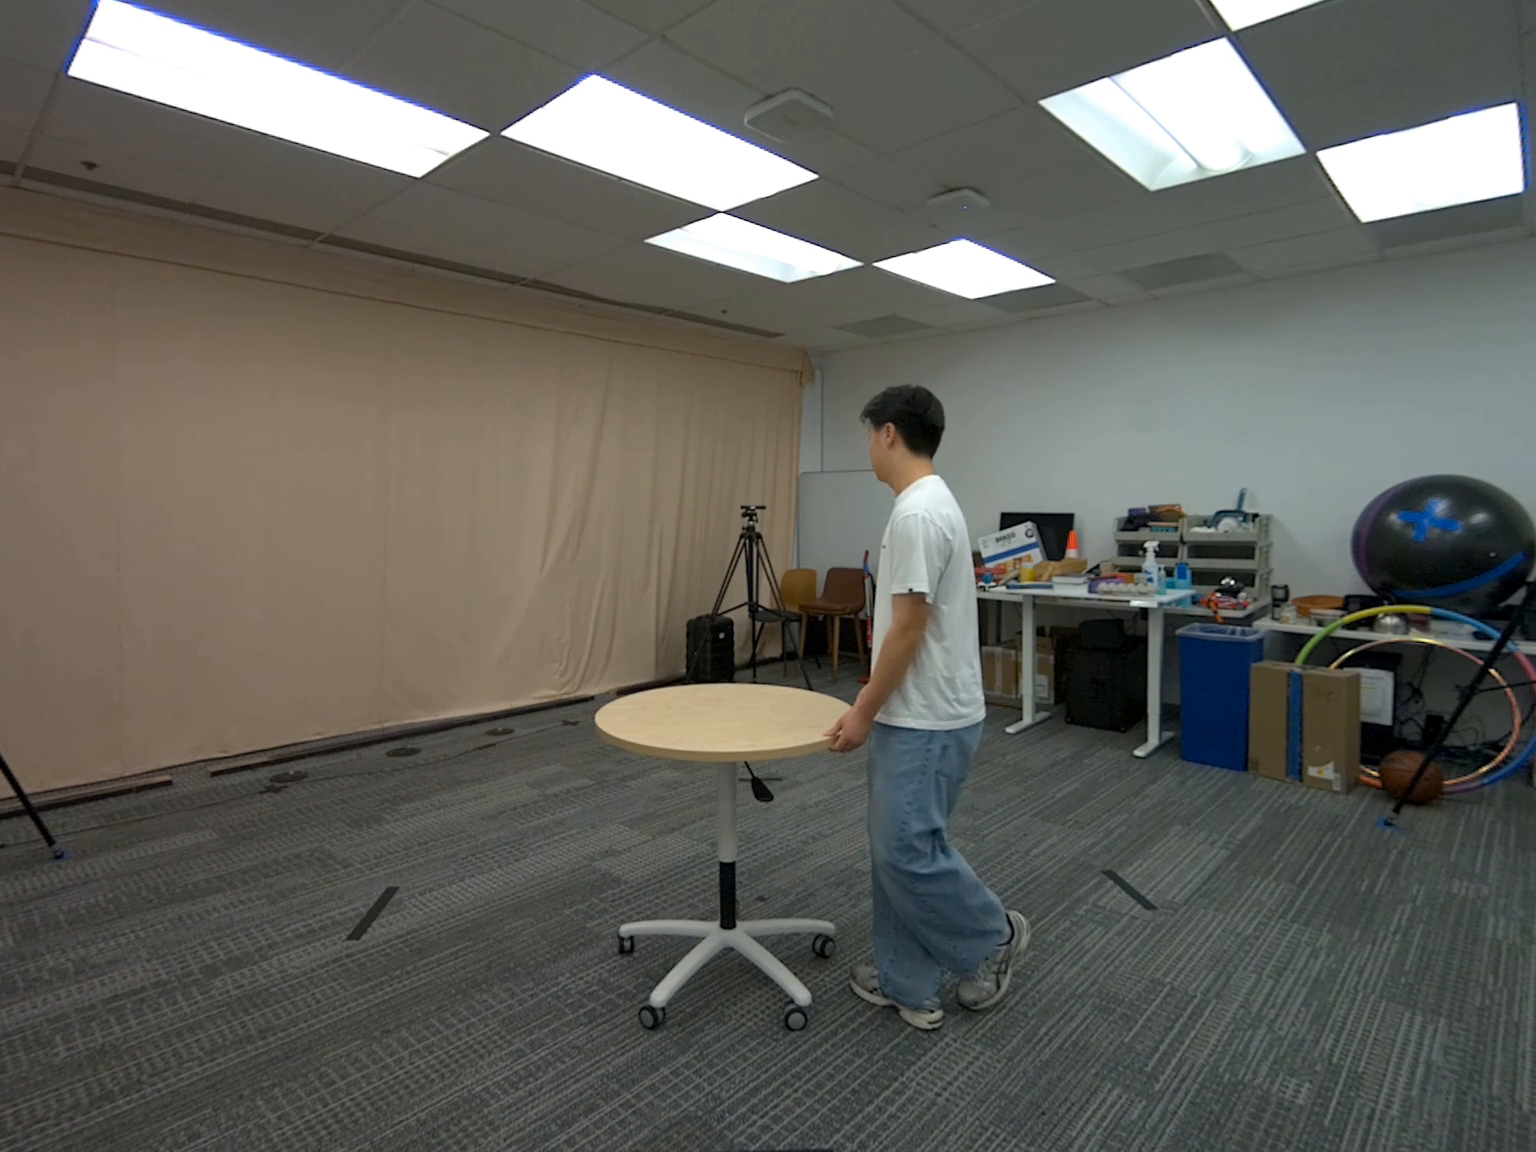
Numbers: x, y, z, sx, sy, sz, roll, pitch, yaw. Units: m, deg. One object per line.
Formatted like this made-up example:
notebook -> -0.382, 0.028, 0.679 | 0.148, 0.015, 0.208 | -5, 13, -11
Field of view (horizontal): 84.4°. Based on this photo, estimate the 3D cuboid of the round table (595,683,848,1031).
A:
round table -> -0.127, 0.798, 2.499 | 0.763, 0.792, 0.767 | 0, 4, -2
